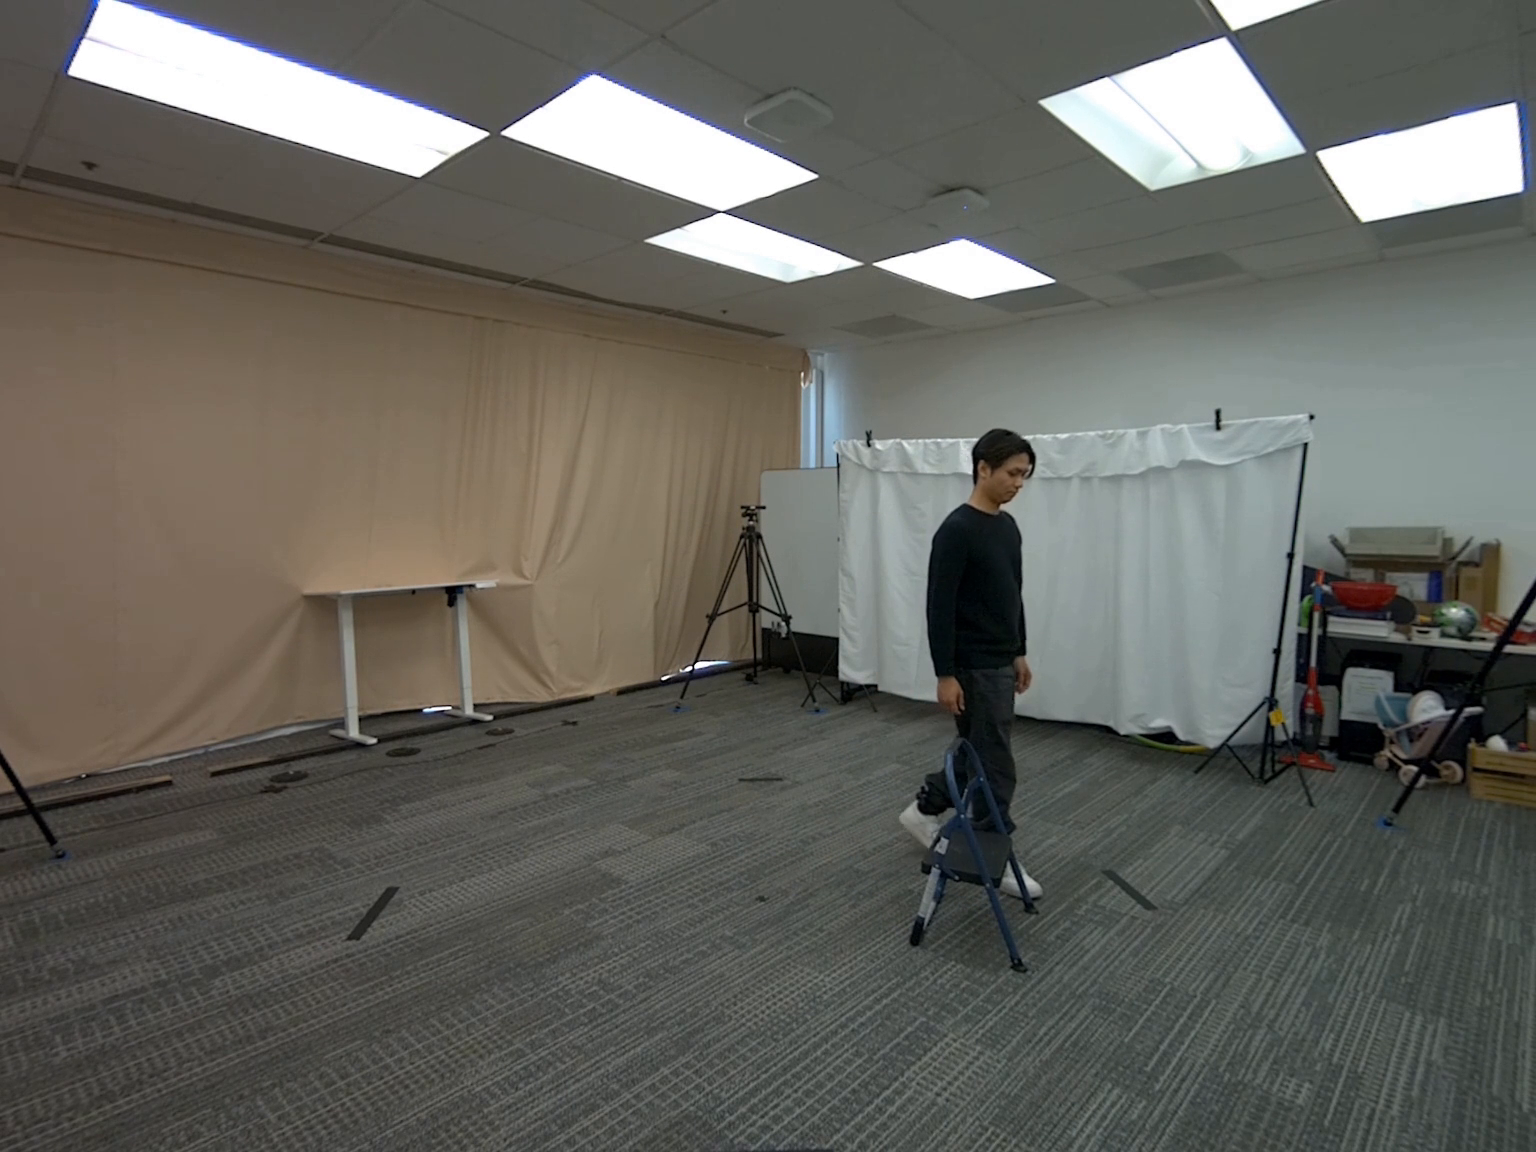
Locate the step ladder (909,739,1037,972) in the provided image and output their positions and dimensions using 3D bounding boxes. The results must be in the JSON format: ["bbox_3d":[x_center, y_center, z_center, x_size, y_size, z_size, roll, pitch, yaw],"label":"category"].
[{"bbox_3d":[0.691,0.858,2.755,0.358,0.605,0.421,2,3,23],"label":"step ladder"}]
